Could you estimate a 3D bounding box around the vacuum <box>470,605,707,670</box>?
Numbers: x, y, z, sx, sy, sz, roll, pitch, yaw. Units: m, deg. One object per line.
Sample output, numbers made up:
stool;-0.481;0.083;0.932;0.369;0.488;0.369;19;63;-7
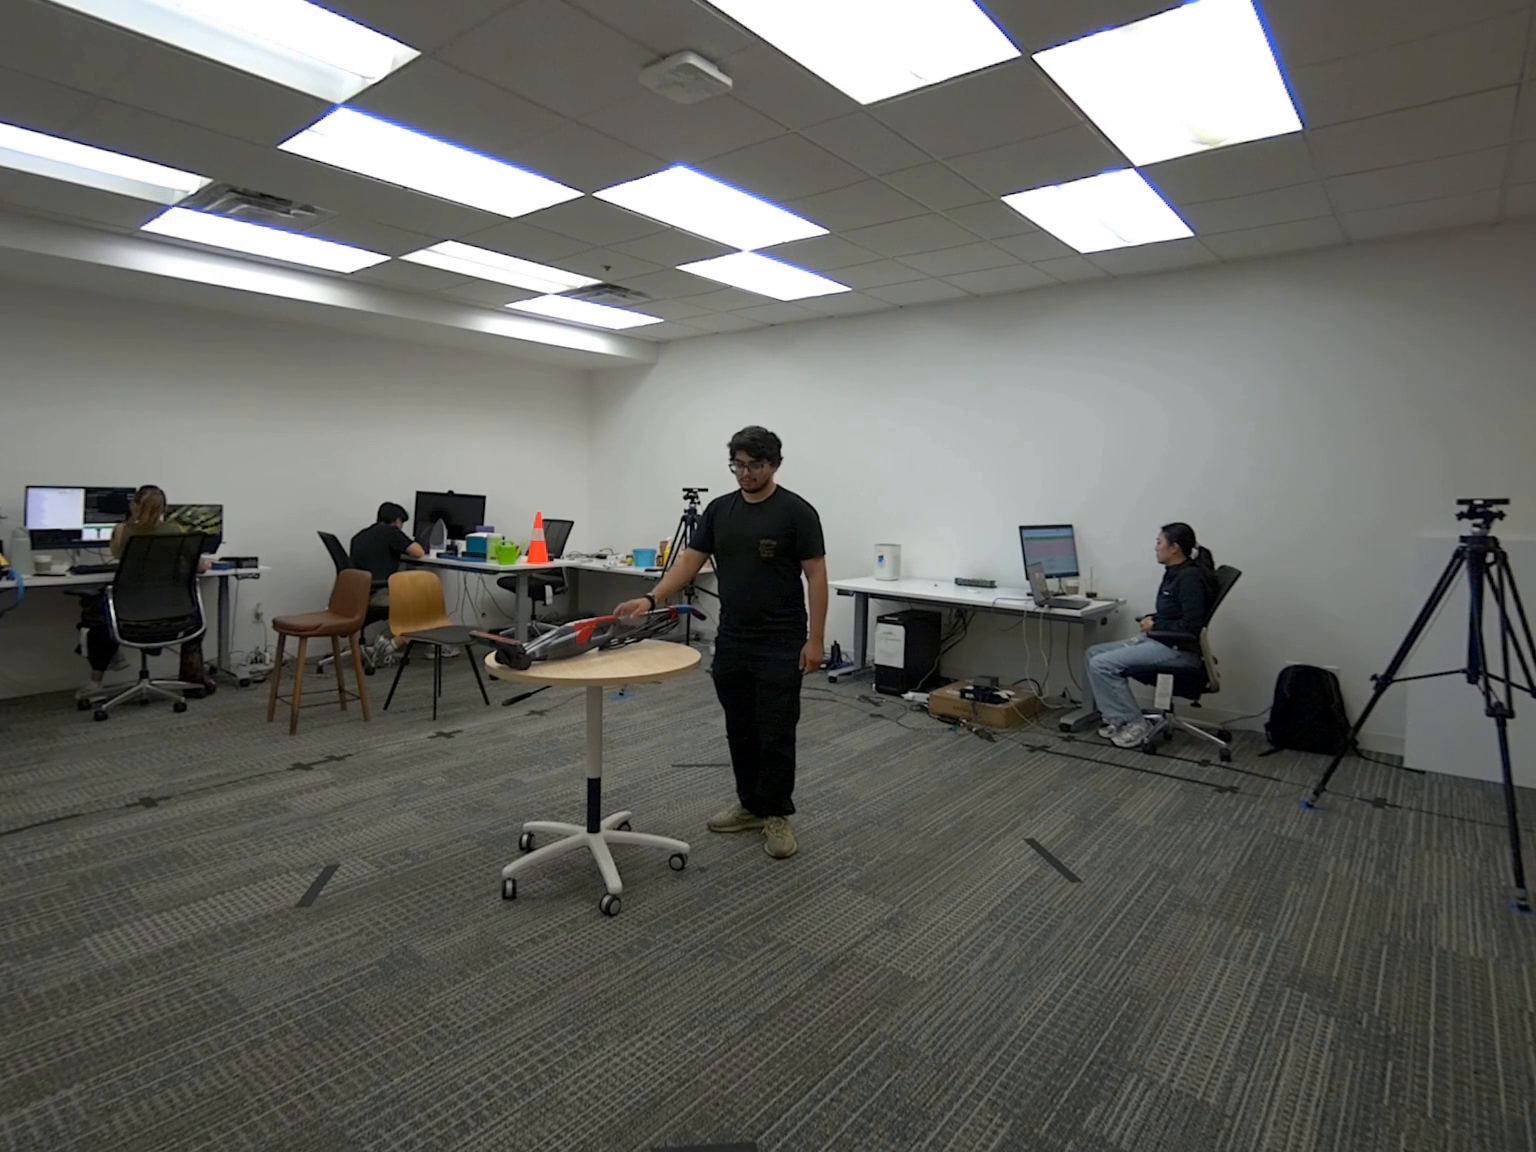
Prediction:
vacuum;-0.602;0.221;3.201;0.262;0.143;1.020;14;12;35
